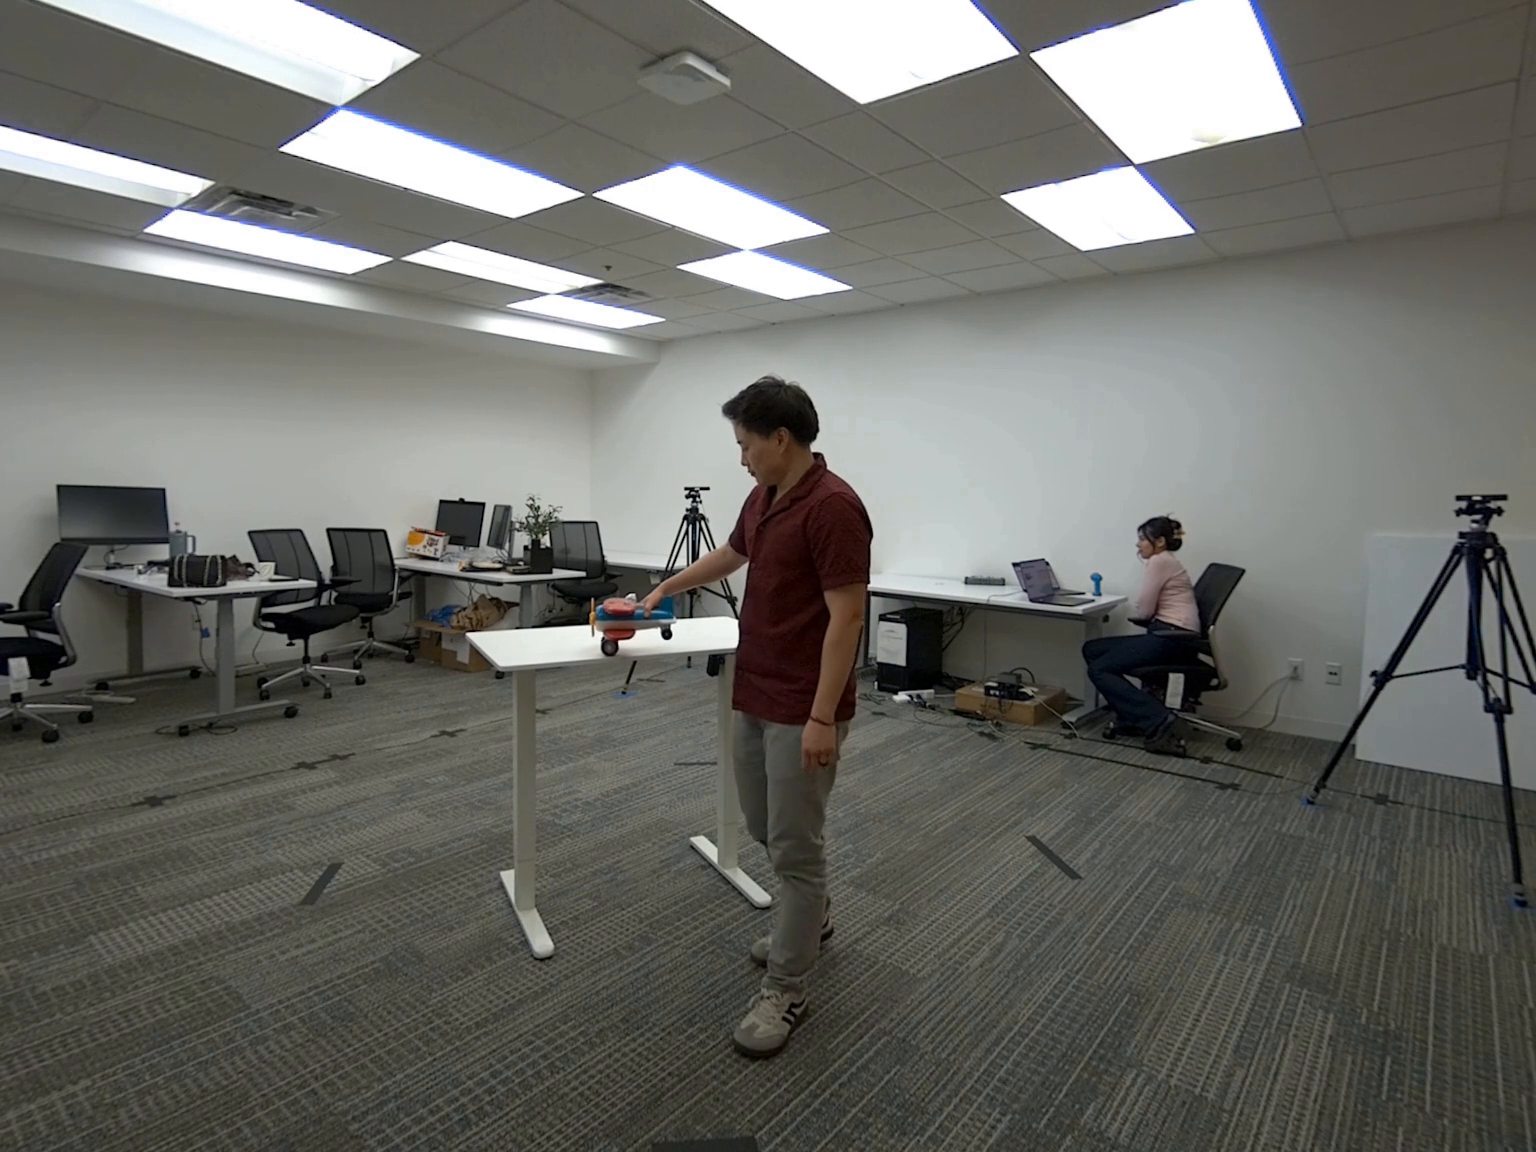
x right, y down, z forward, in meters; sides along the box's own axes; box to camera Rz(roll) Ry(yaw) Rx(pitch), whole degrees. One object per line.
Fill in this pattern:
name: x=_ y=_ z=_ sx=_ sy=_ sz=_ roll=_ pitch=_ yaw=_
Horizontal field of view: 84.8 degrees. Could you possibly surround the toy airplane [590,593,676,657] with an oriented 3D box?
toy airplane: x=-0.428 y=0.141 z=2.611 sx=0.254 sy=0.155 sz=0.258 roll=-18 pitch=10 yaw=-36
